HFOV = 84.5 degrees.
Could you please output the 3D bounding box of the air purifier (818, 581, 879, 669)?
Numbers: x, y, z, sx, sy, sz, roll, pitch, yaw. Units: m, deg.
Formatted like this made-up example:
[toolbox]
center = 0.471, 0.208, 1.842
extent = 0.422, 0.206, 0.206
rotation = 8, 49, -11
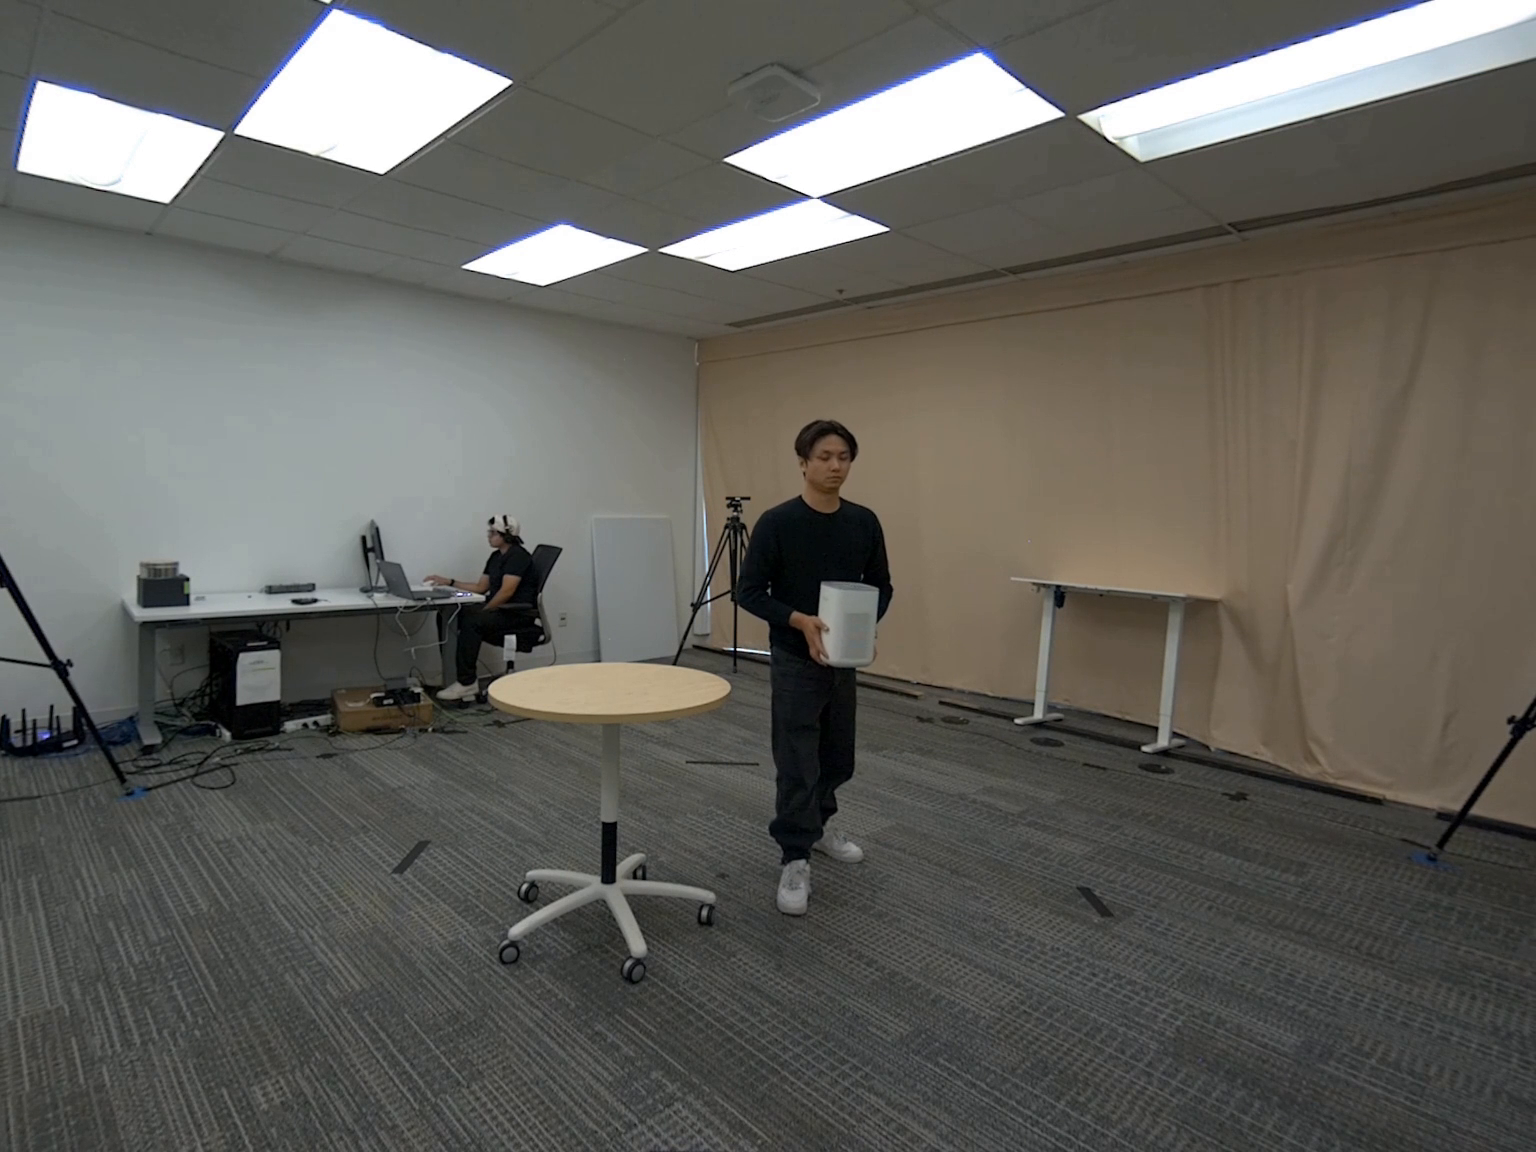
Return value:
[air purifier]
center = 0.244, 0.161, 2.820
extent = 0.169, 0.264, 0.174
rotation = 3, 5, -17
